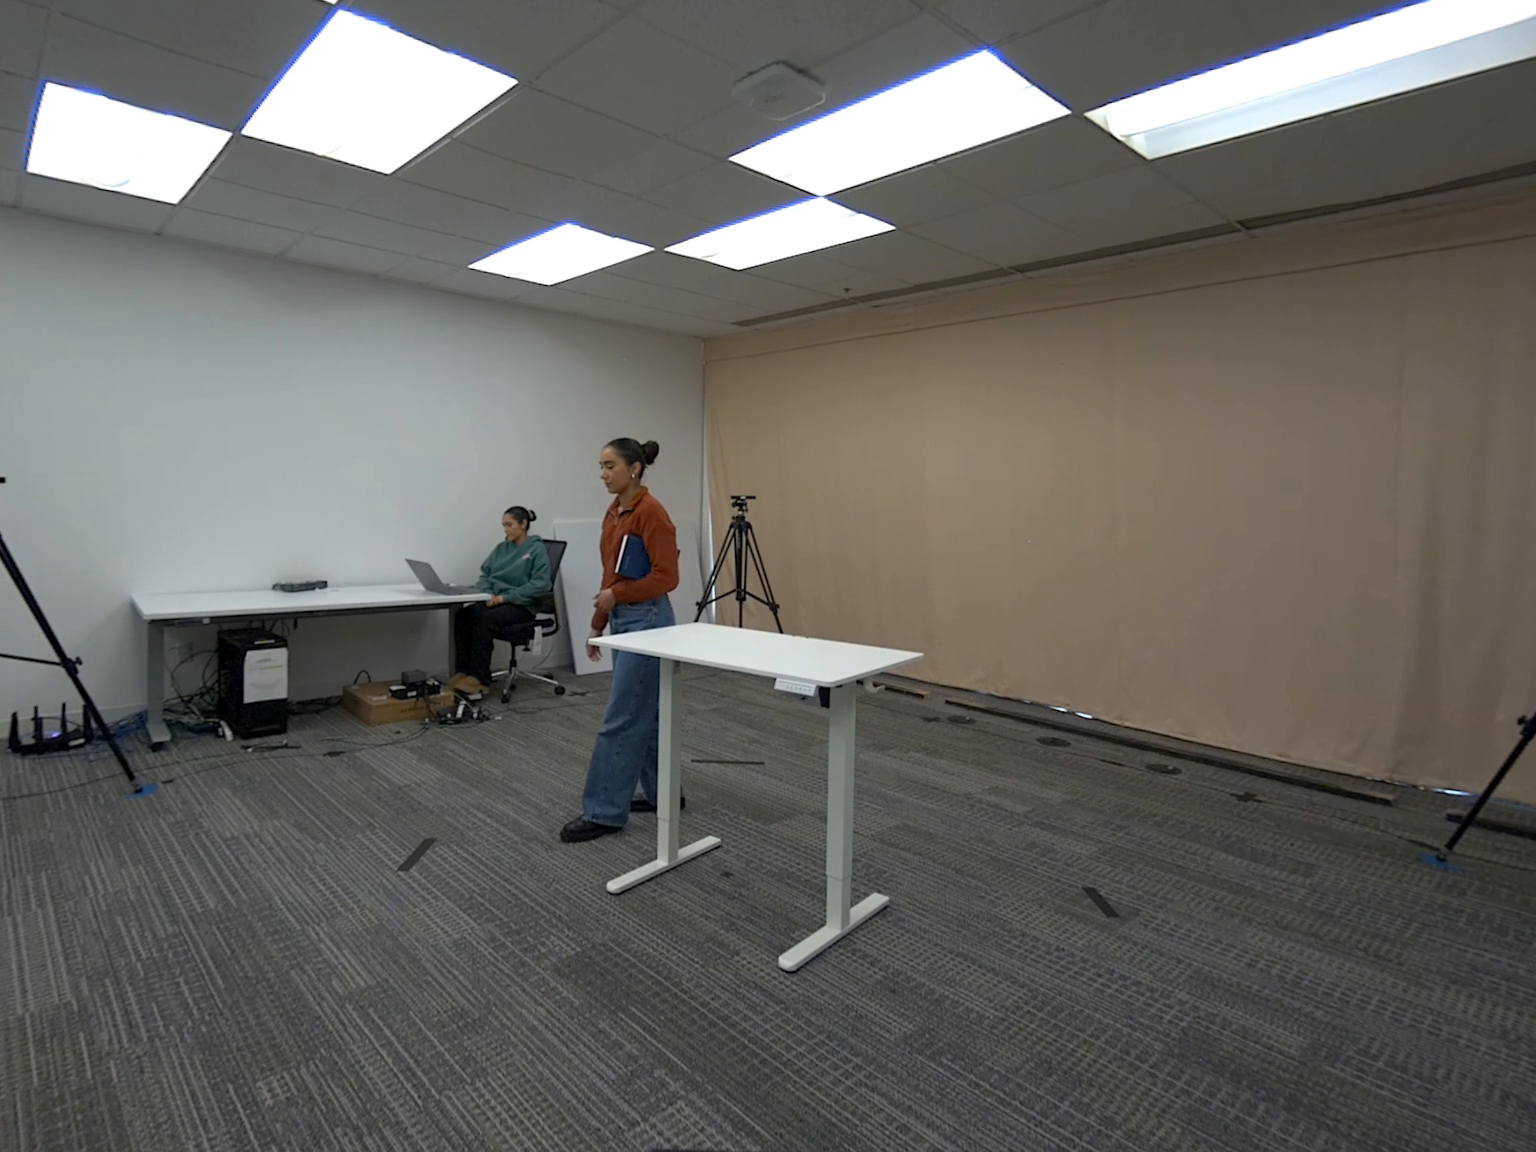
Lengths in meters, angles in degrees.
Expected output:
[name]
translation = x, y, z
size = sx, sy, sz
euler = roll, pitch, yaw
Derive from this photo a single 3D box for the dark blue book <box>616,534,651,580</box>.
[dark blue book]
translation = -0.494, -0.063, 3.417
size = 0.240, 0.163, 0.046
euler = 17, -2, -25
